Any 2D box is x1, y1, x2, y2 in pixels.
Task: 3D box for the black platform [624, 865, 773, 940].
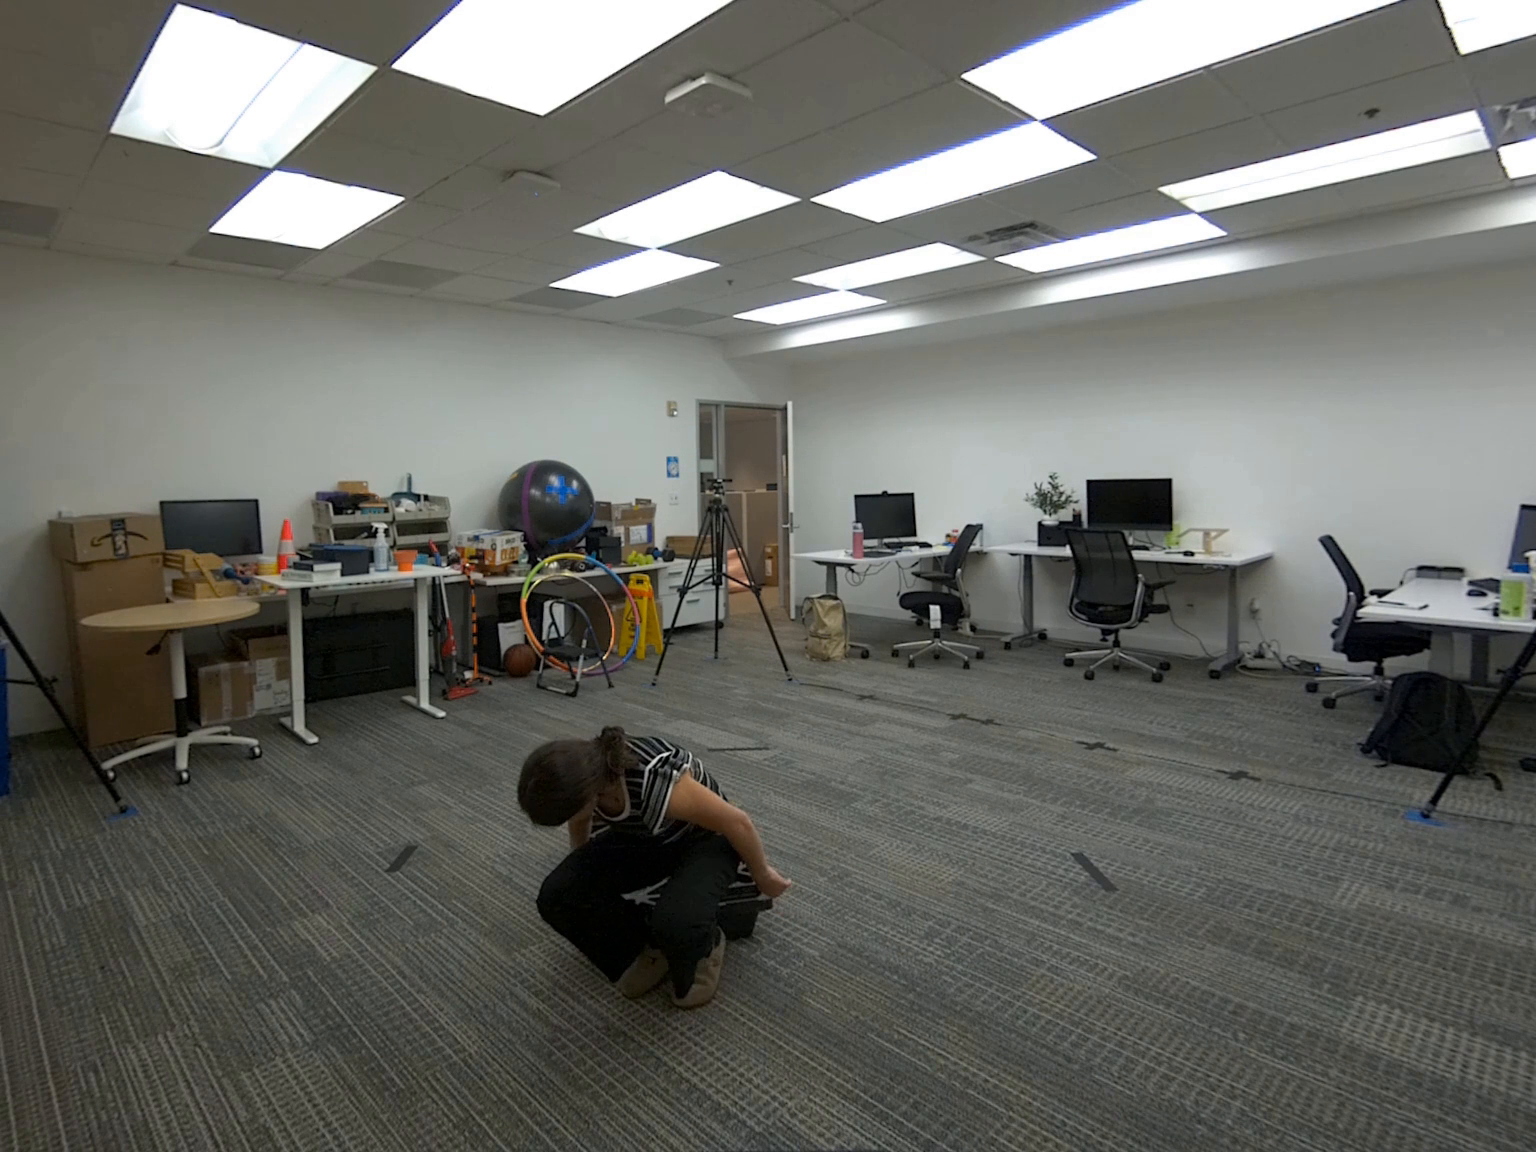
[{"bbox_3d":[-0.366,1.005,2.914,0.598,0.142,0.819,-4,7,-13],"label":"black platform"}]
